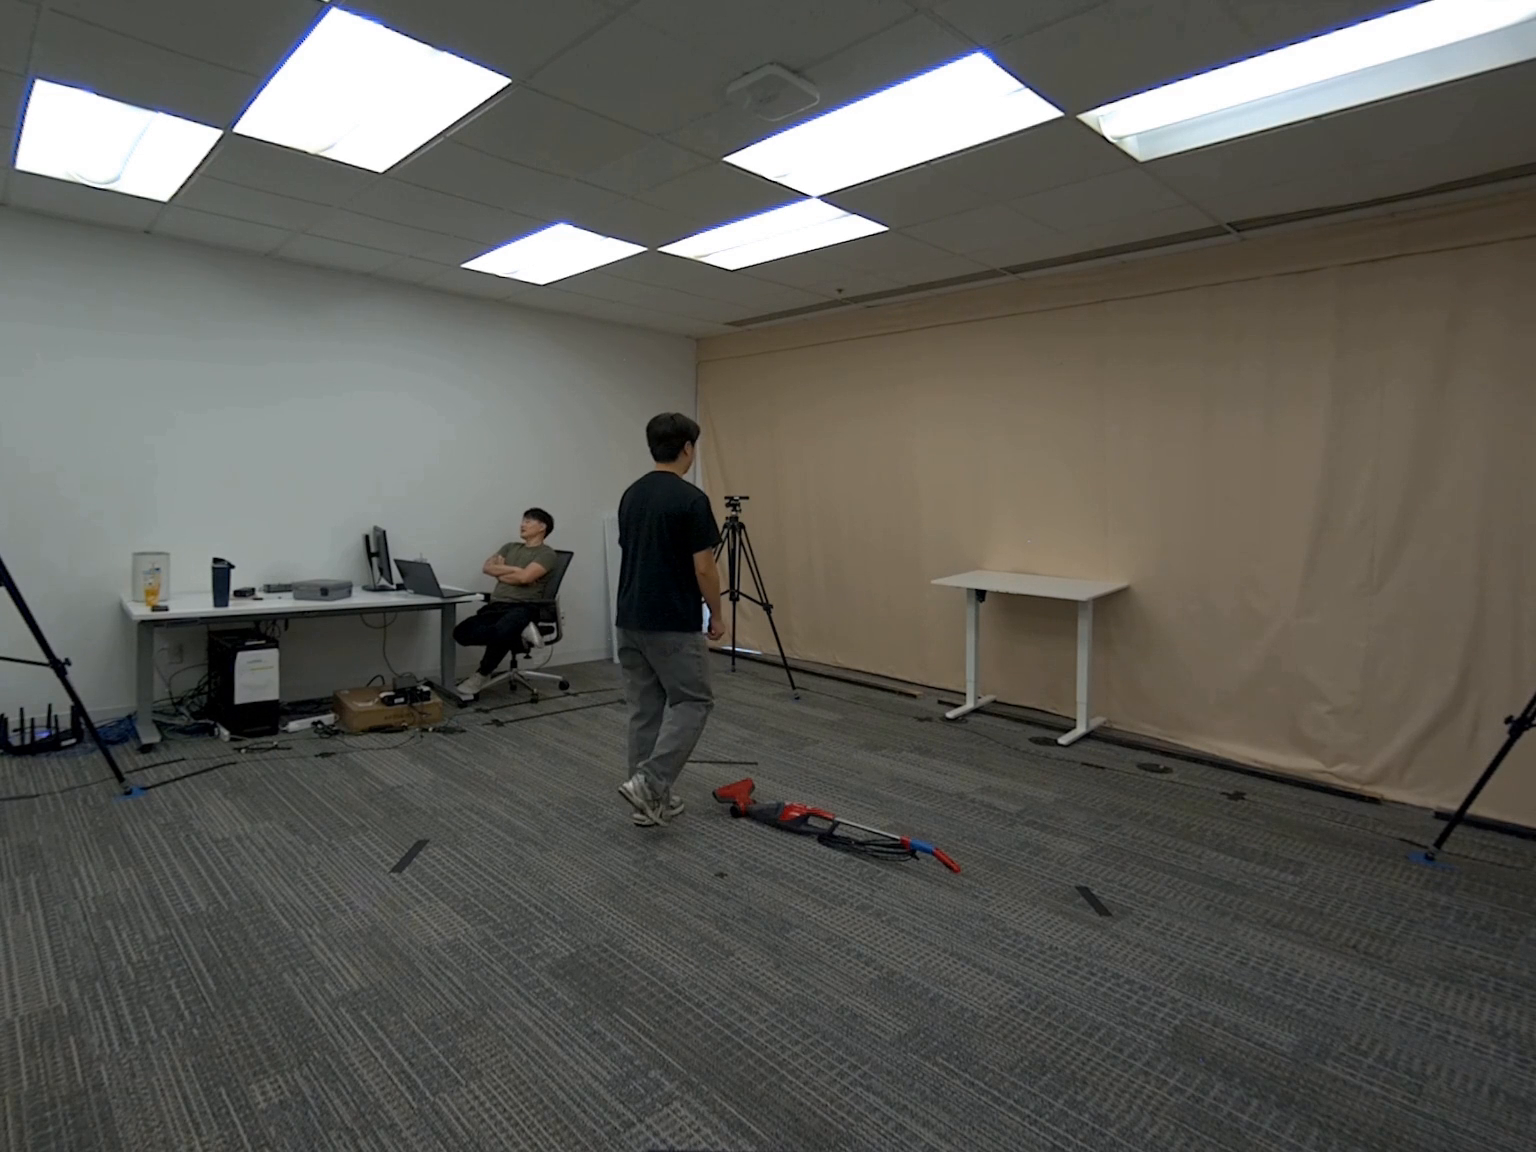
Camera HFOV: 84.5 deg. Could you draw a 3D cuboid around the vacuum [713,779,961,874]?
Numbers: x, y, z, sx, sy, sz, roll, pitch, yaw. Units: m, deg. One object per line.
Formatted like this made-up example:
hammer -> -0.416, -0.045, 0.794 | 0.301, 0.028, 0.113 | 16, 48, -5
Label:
vacuum -> 0.262, 1.033, 3.393 | 1.076, 0.143, 0.247 | 6, 6, 39
